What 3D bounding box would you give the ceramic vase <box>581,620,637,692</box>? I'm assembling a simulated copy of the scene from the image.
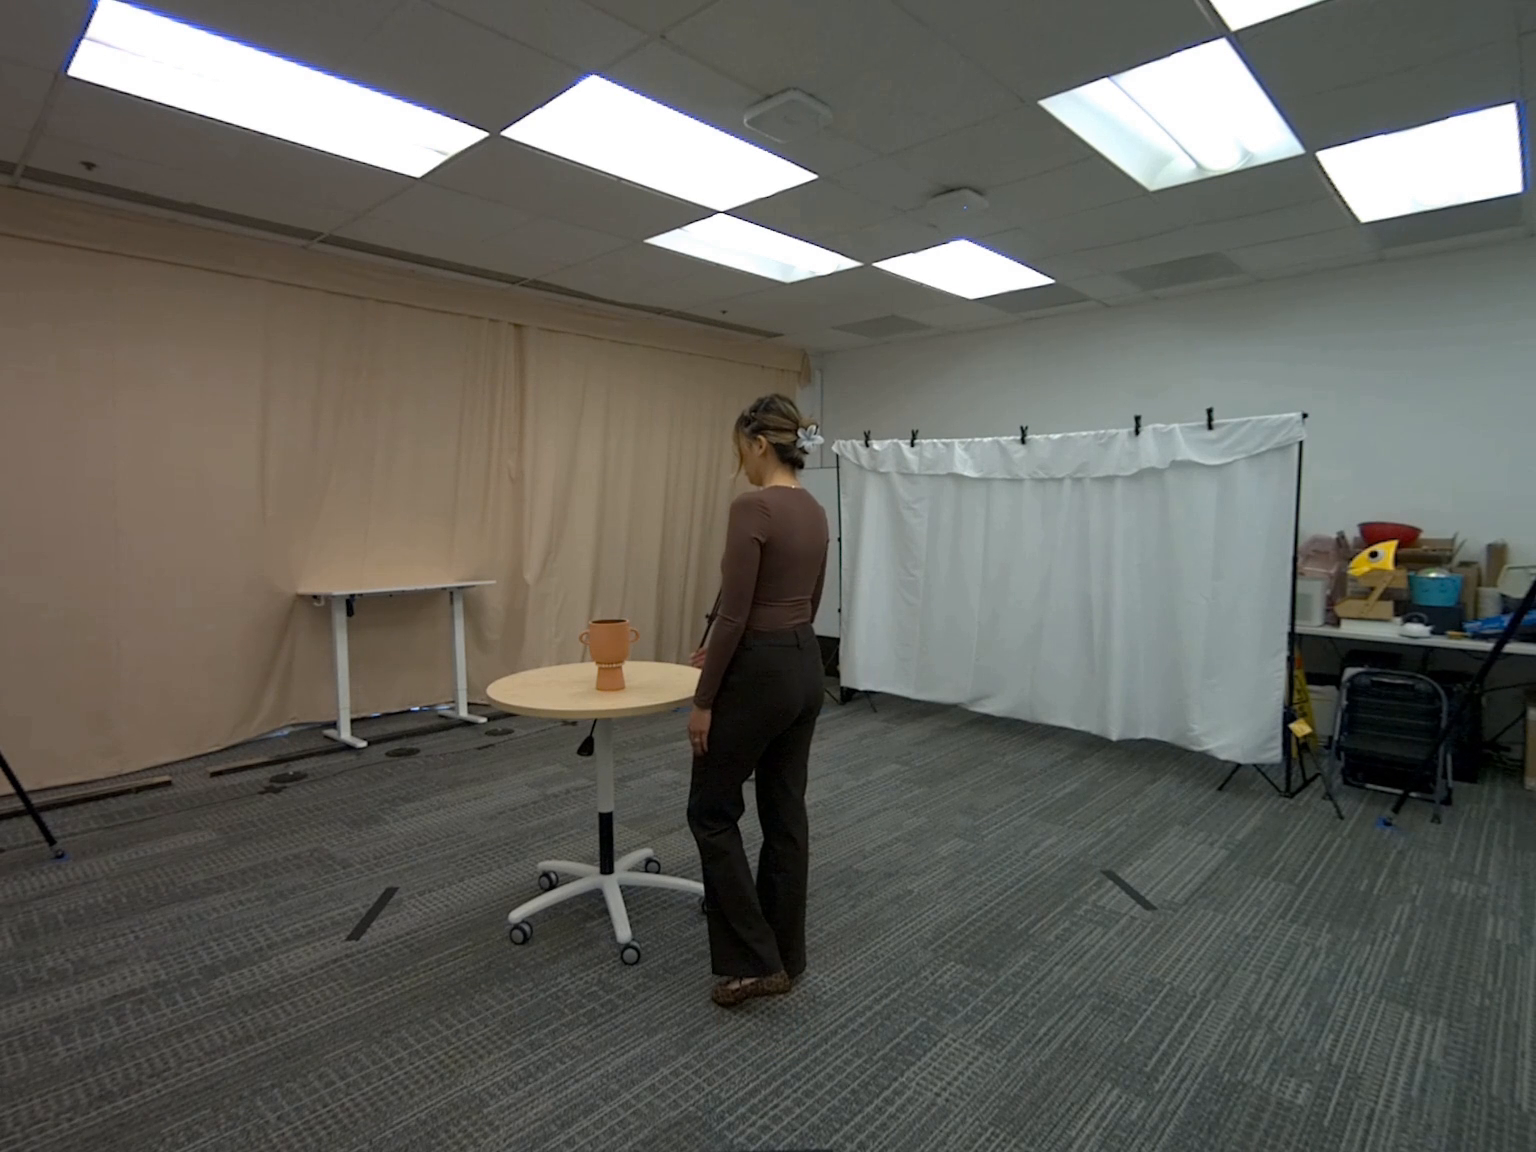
[{"bbox_3d":[-0.521,0.261,2.758,0.162,0.219,0.132,0,4,21],"label":"ceramic vase"}]
